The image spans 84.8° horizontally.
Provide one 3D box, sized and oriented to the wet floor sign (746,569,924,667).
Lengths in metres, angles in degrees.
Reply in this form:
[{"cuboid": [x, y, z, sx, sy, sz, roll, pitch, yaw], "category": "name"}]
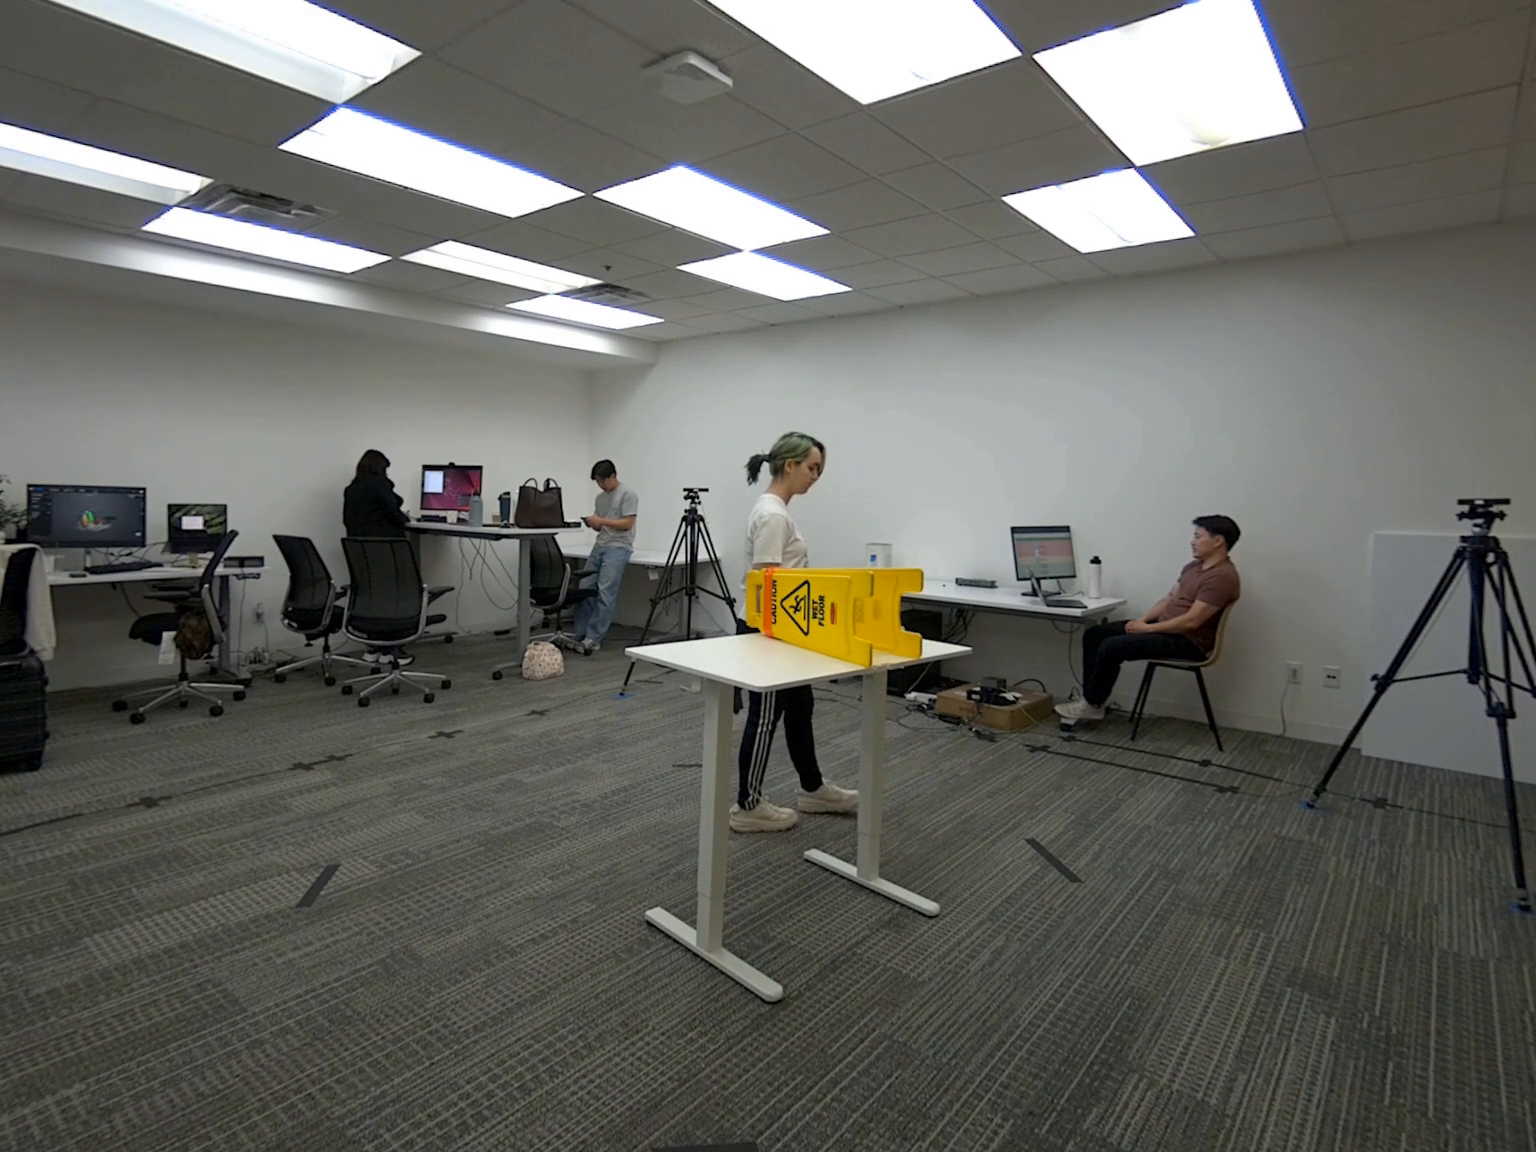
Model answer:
[{"cuboid": [0.151, 0.098, 2.785, 0.281, 0.282, 0.668, -1, 4, -44], "category": "wet floor sign"}]
